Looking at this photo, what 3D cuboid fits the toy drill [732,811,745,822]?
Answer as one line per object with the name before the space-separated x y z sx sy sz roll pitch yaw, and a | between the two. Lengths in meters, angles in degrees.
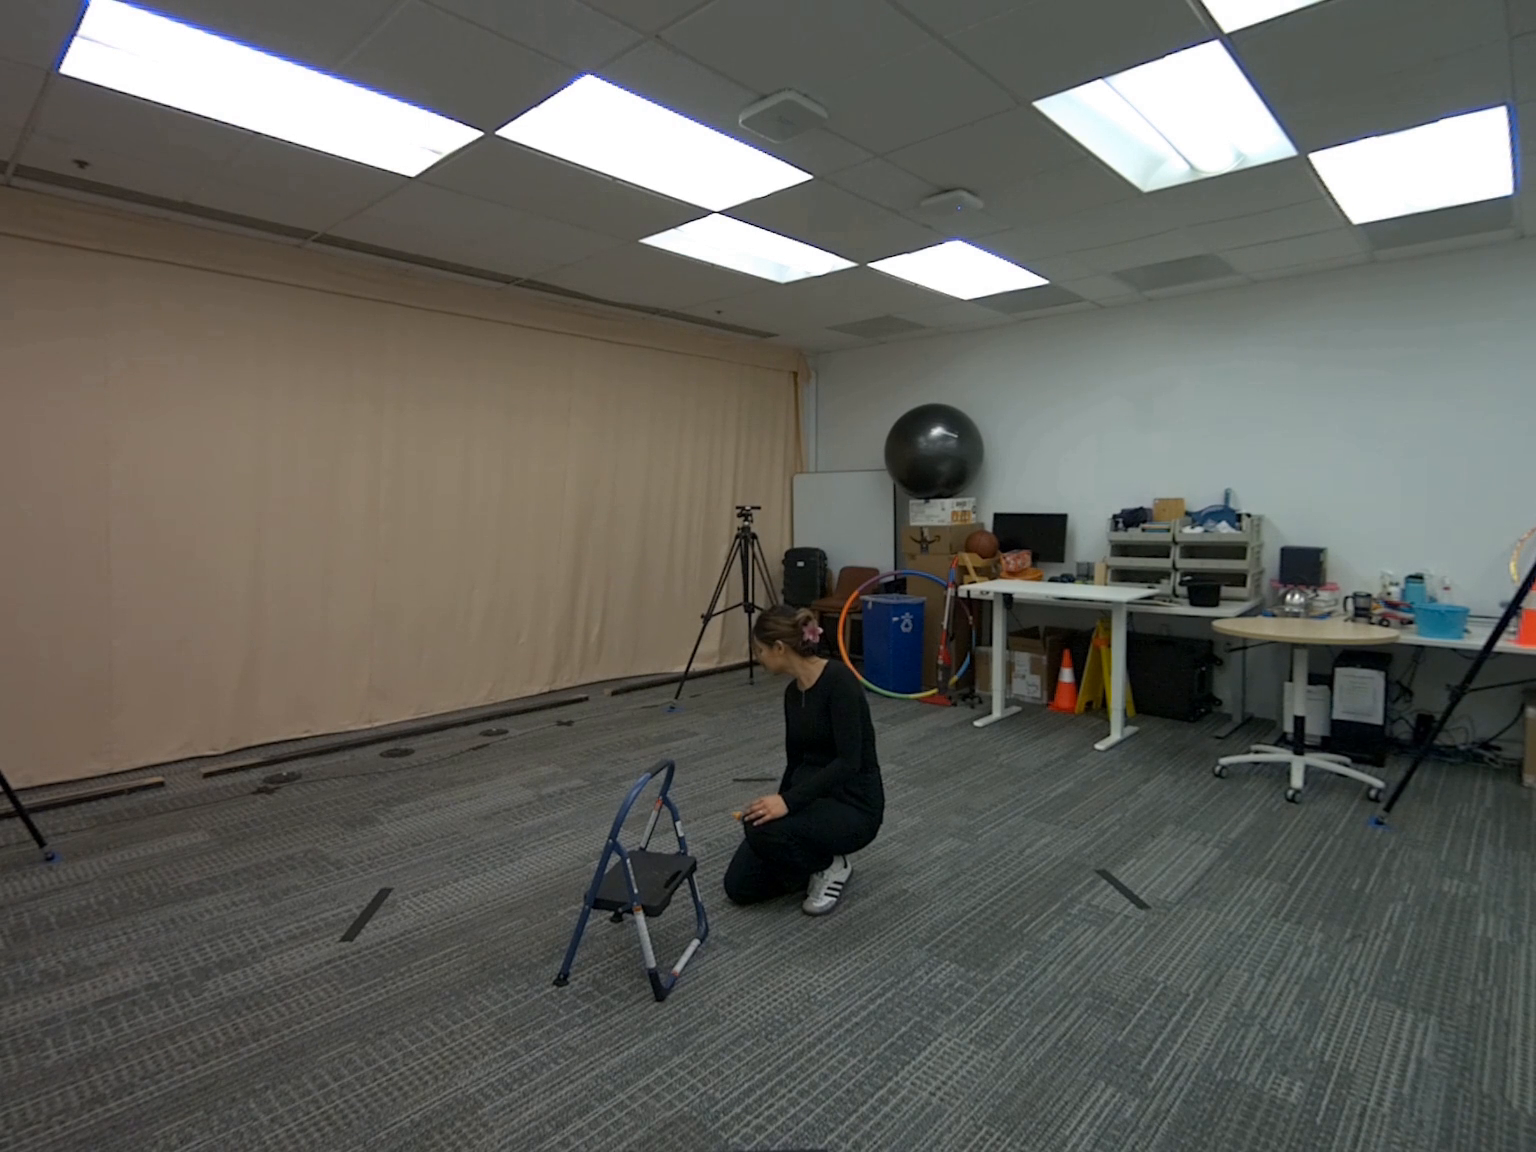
toy drill | -0.084 1.034 3.440 0.059 0.146 0.175 -3 4 -43
